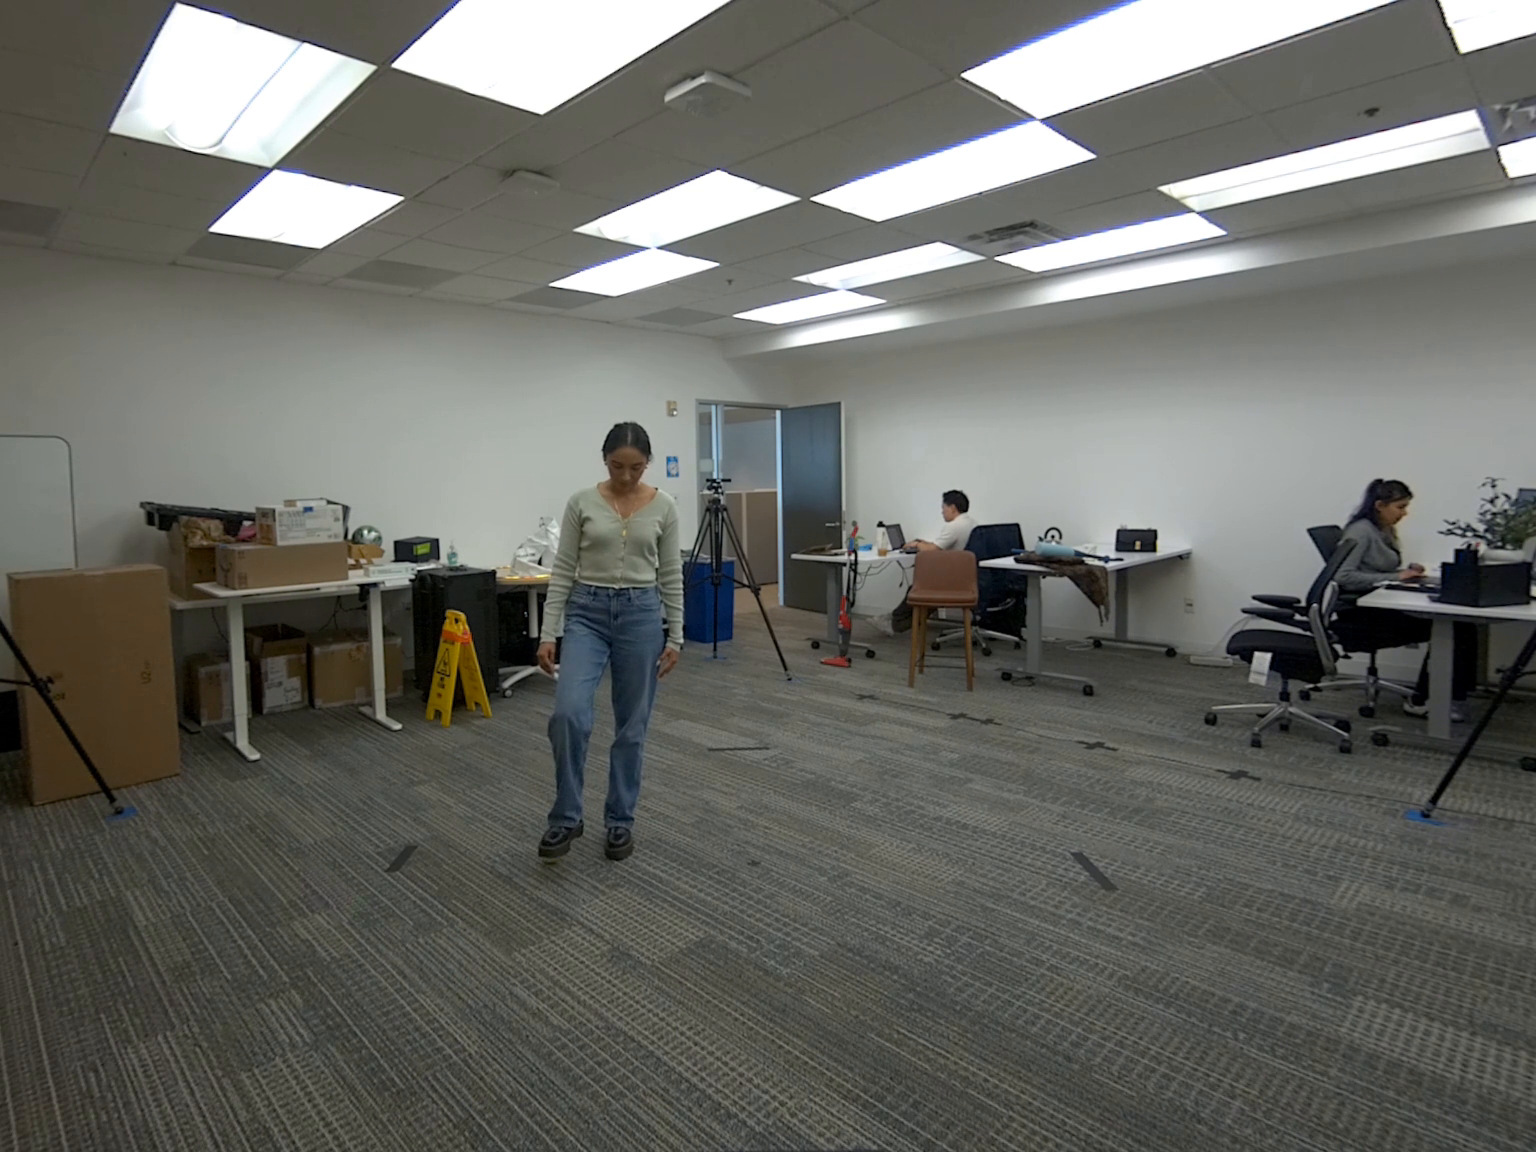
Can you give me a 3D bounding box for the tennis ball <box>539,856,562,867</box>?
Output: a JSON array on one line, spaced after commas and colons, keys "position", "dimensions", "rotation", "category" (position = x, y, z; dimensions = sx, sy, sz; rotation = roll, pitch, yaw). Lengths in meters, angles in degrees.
[{"position": [-0.798, 1.014, 3.134], "dimensions": [0.066, 0.066, 0.067], "rotation": [-1, 5, -2], "category": "tennis ball"}]
